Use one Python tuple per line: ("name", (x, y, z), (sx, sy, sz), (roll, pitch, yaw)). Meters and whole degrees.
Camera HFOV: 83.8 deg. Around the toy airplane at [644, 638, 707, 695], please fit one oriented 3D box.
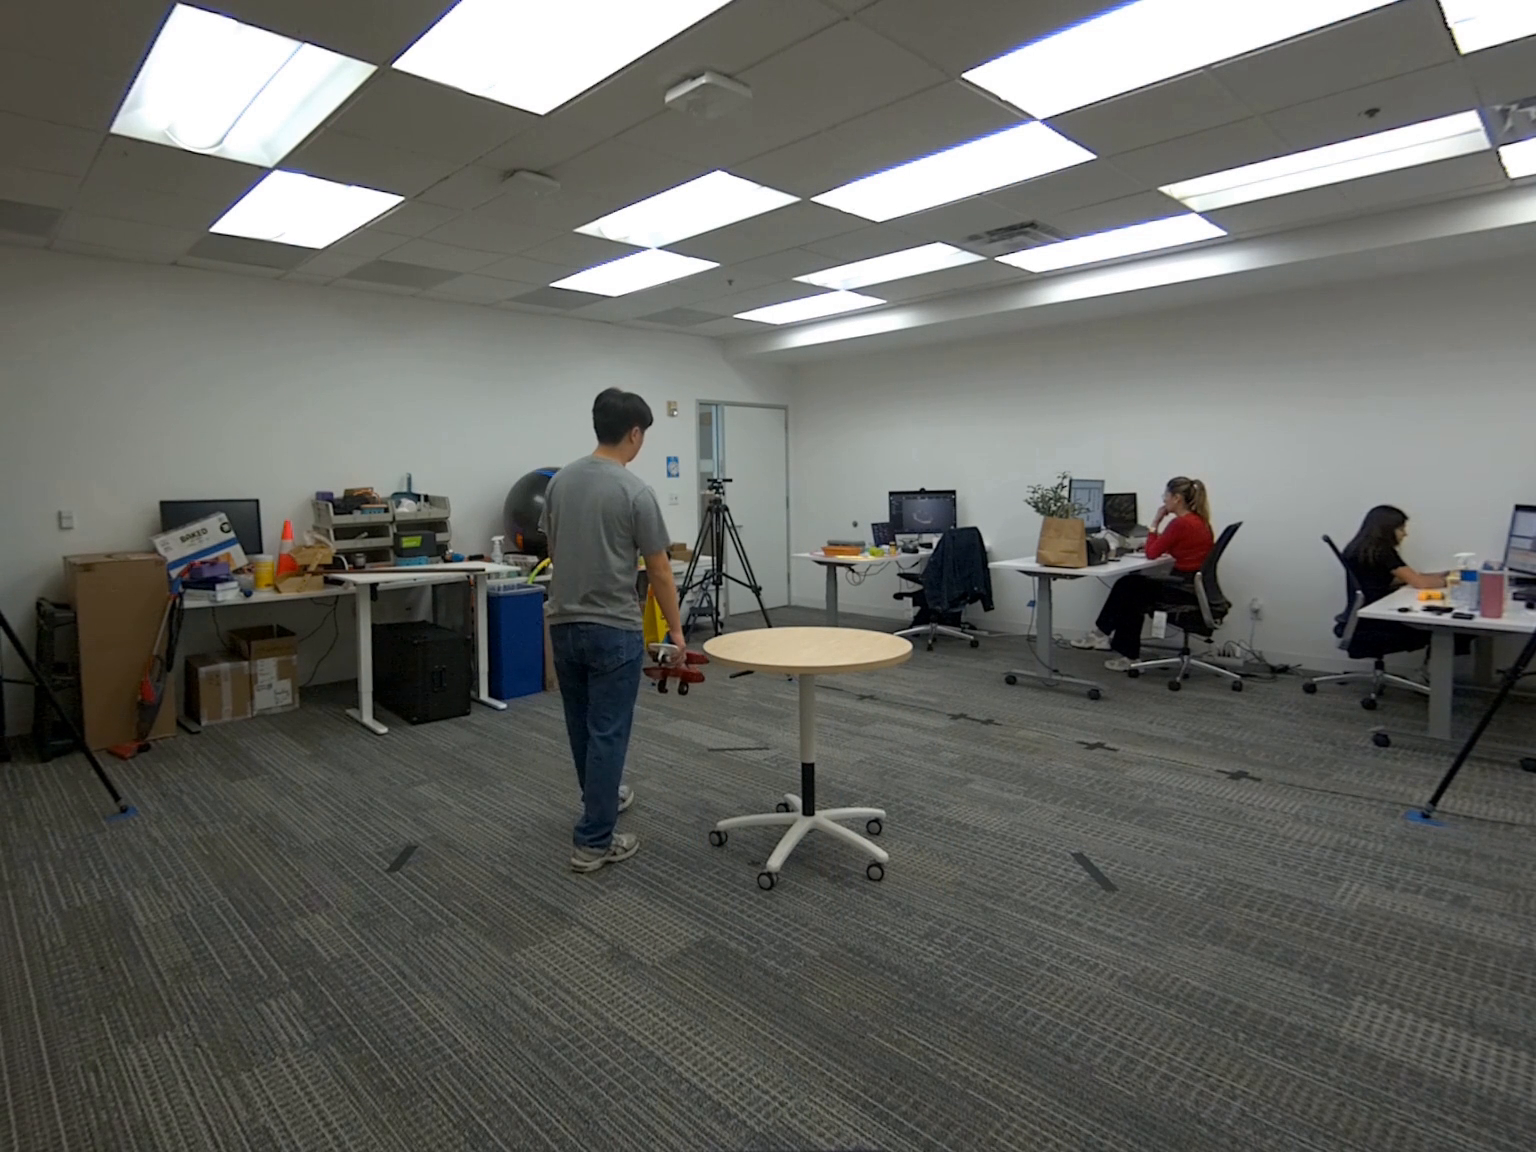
("toy airplane", (-0.344, 0.331, 3.287), (0.251, 0.255, 0.158), (22, 45, 0))
